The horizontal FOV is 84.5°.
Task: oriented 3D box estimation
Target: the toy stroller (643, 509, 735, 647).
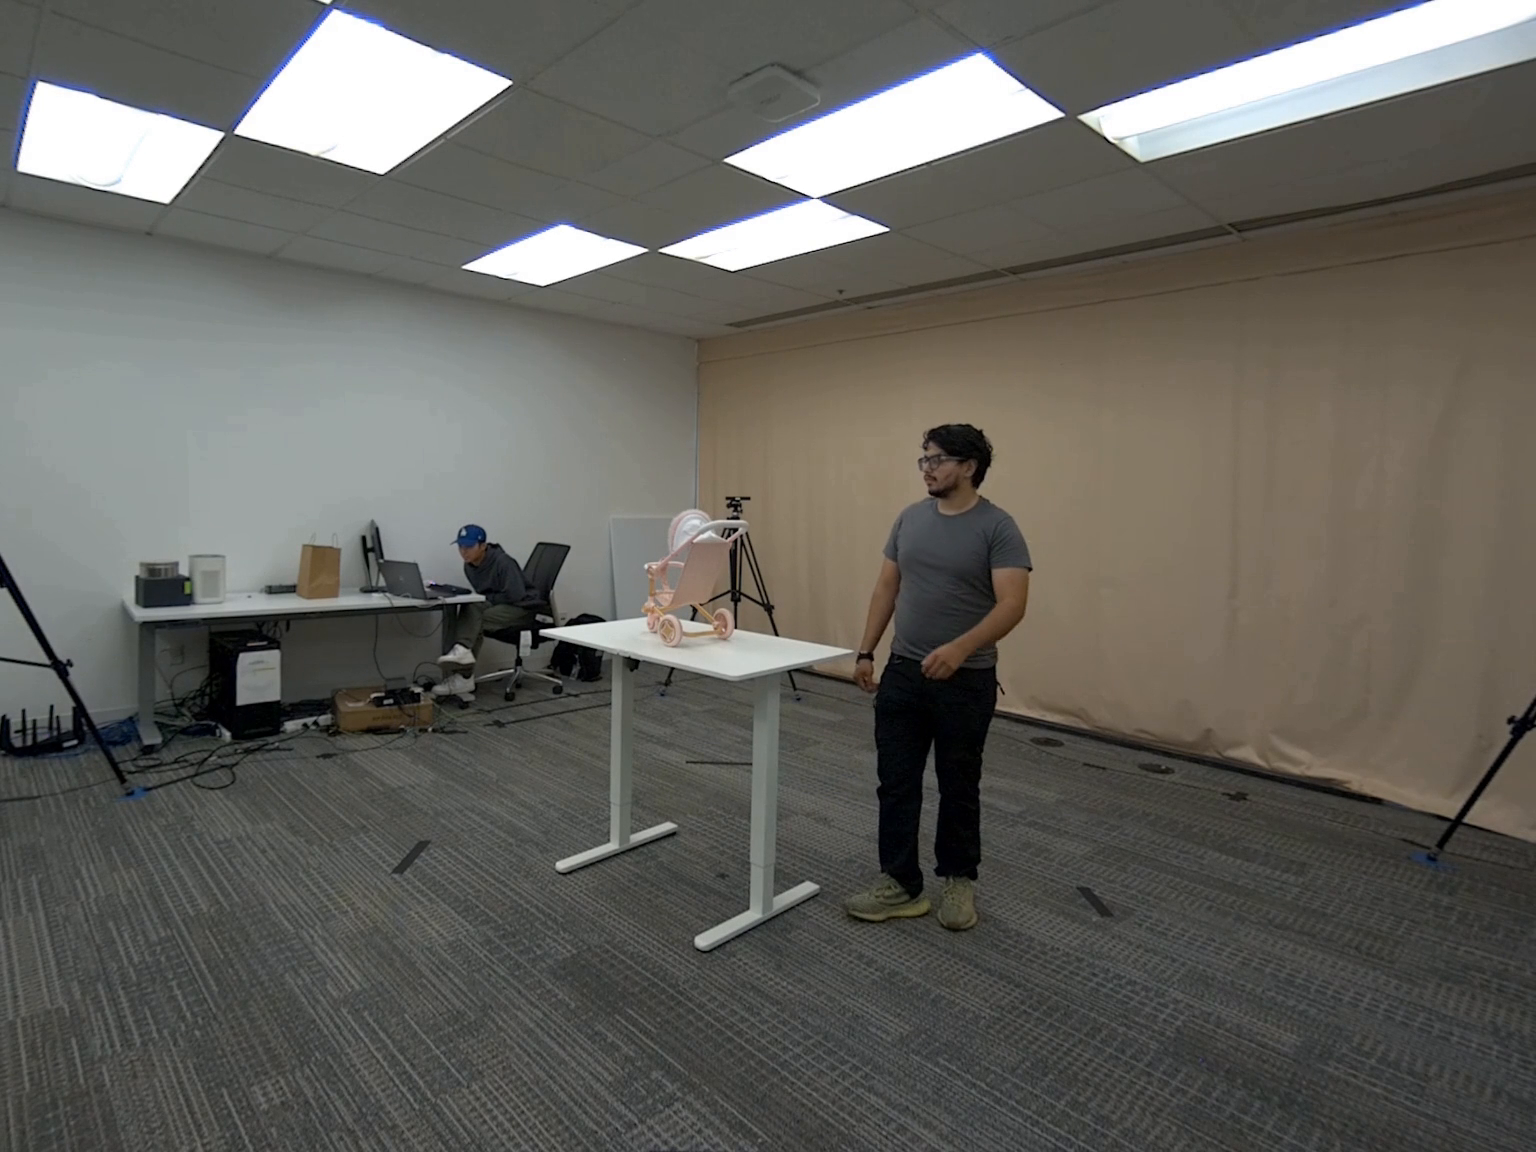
[{"bbox_3d":[-0.290,0.006,2.986,0.275,0.530,0.352,-1,21,-41],"label":"toy stroller"}]
